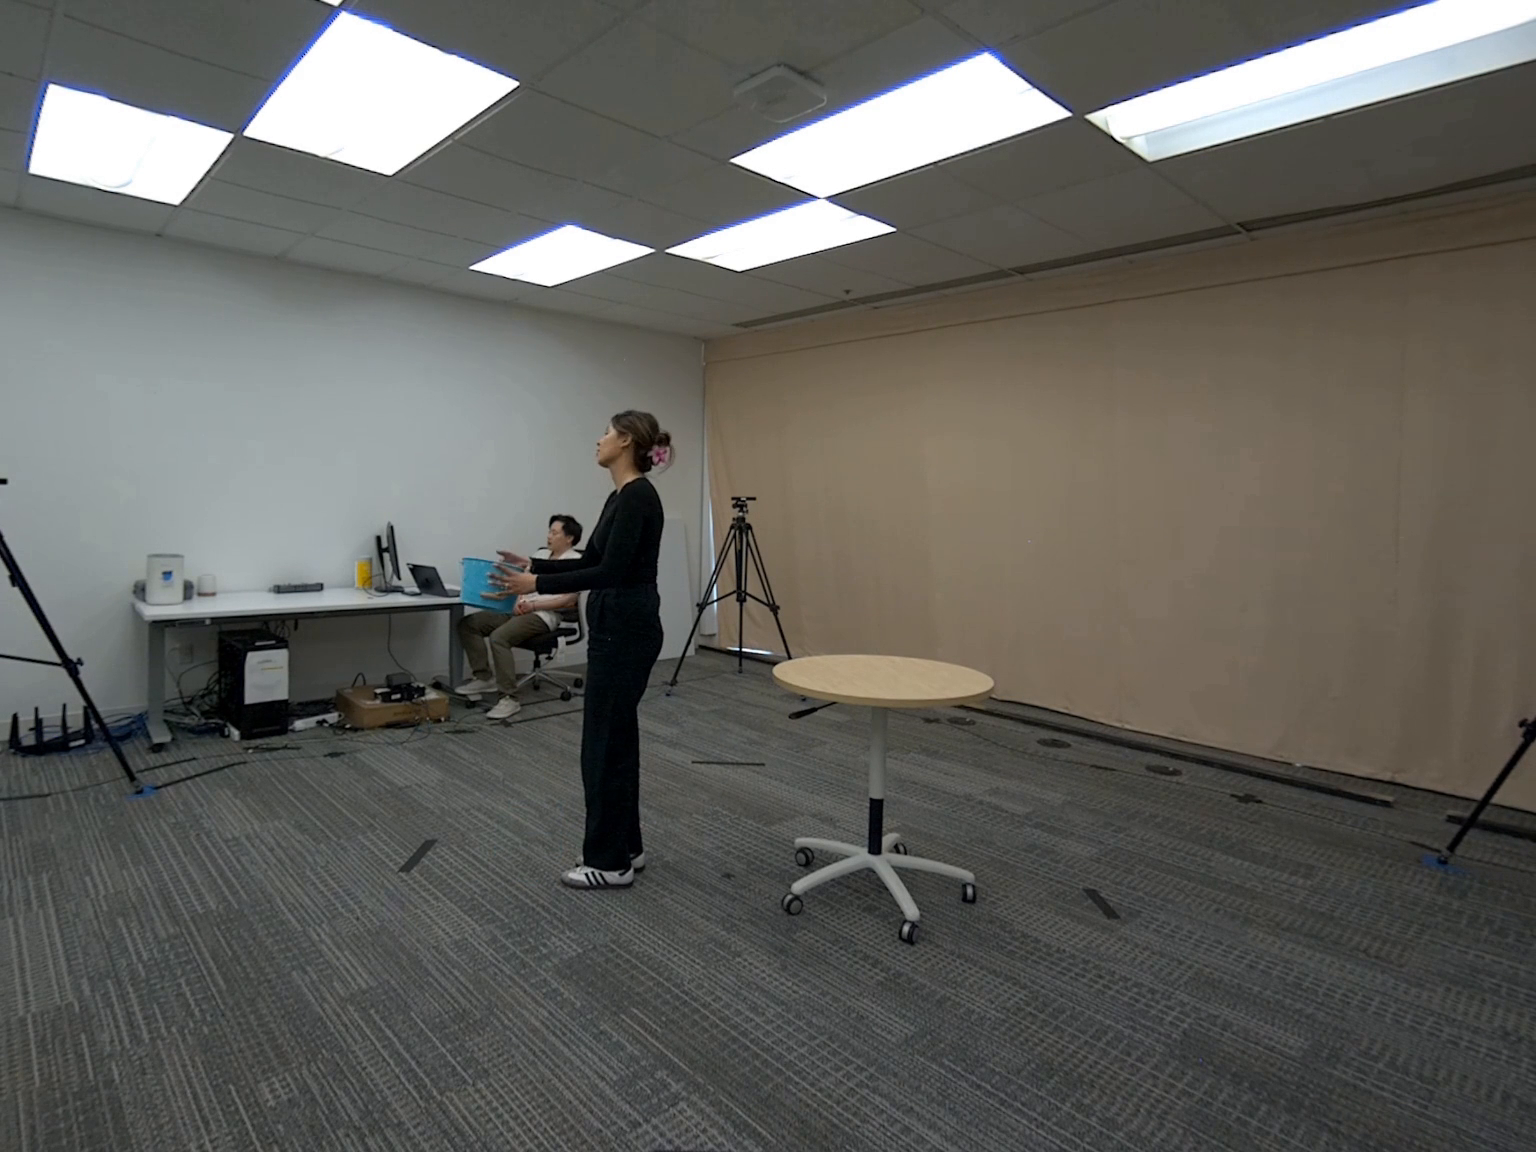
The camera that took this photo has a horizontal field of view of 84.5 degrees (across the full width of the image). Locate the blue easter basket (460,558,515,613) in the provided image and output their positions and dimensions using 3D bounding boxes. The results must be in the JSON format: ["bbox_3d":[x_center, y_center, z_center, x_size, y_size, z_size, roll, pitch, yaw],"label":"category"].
[{"bbox_3d":[-0.968,0.038,2.929,0.244,0.157,0.242,9,-9,0],"label":"blue easter basket"}]
